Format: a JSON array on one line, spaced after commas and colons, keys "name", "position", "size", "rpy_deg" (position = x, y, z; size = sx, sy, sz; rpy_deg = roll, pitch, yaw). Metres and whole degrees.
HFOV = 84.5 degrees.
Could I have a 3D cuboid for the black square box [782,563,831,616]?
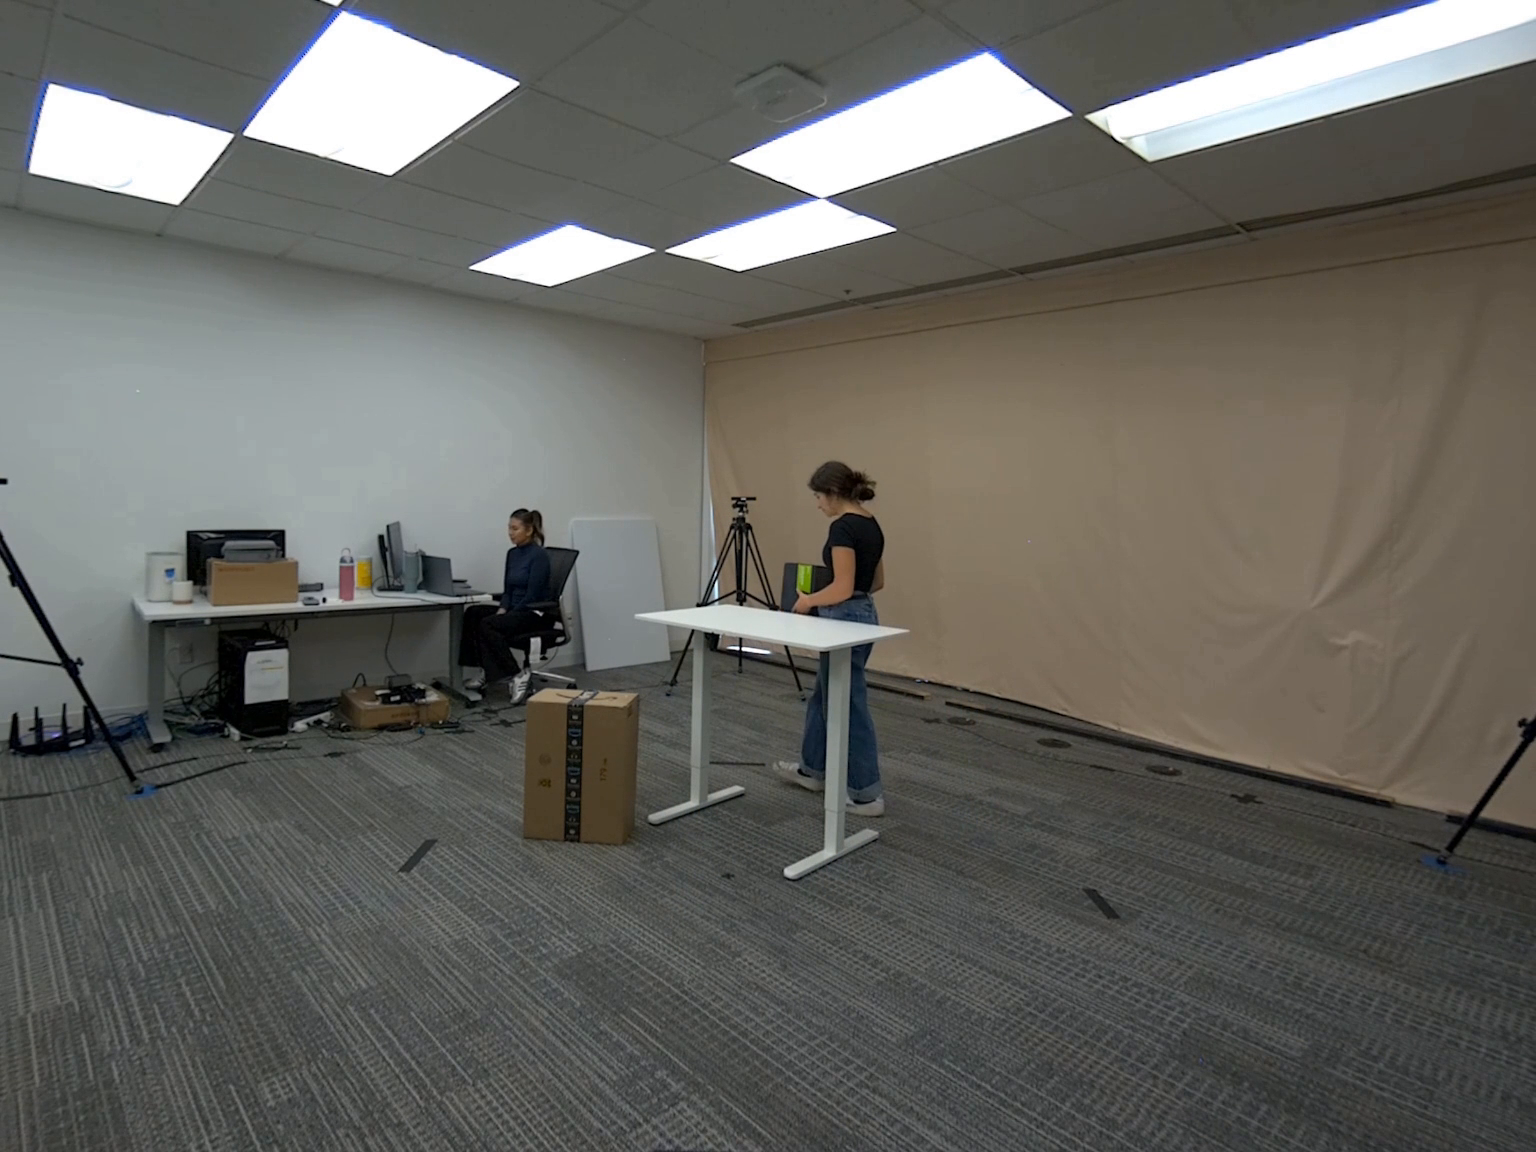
[{"name": "black square box", "position": [0.179, 0.060, 3.958], "size": [0.158, 0.228, 0.213], "rpy_deg": [4, -1, 20]}]
